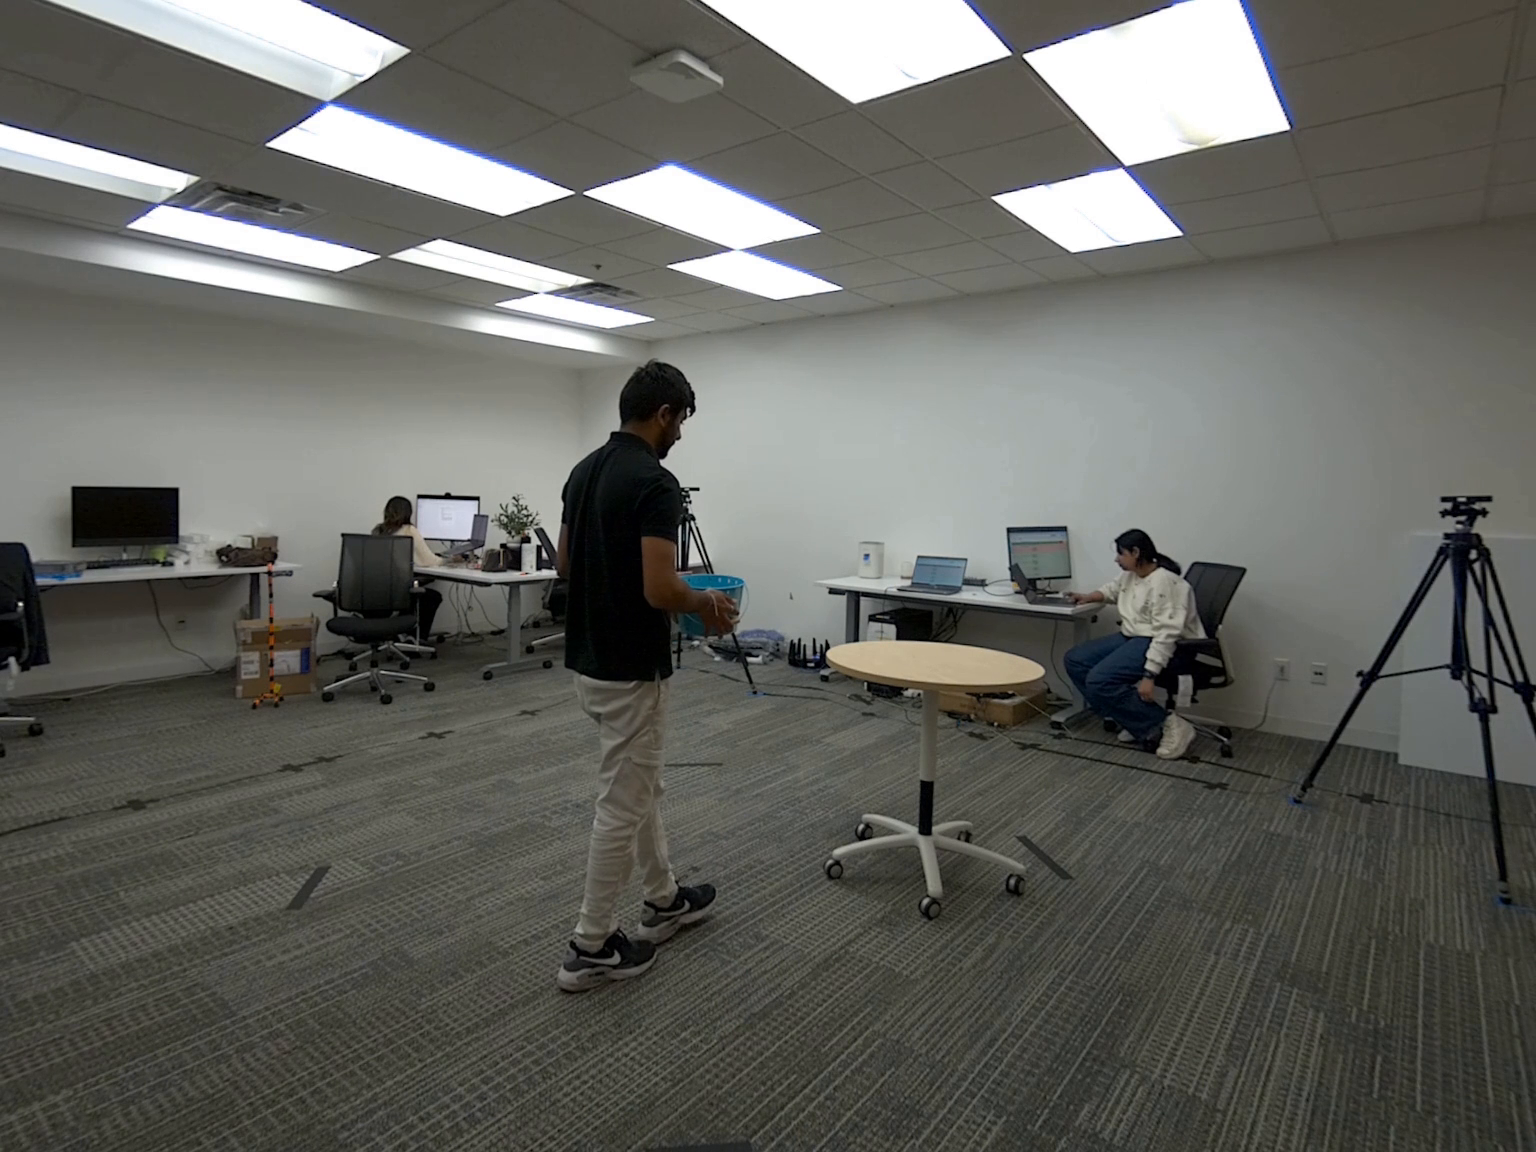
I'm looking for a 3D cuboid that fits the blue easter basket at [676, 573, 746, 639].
[{"bbox_3d":[-0.198,0.097,2.593,0.243,0.154,0.246,0,11,-2],"label":"blue easter basket"}]
